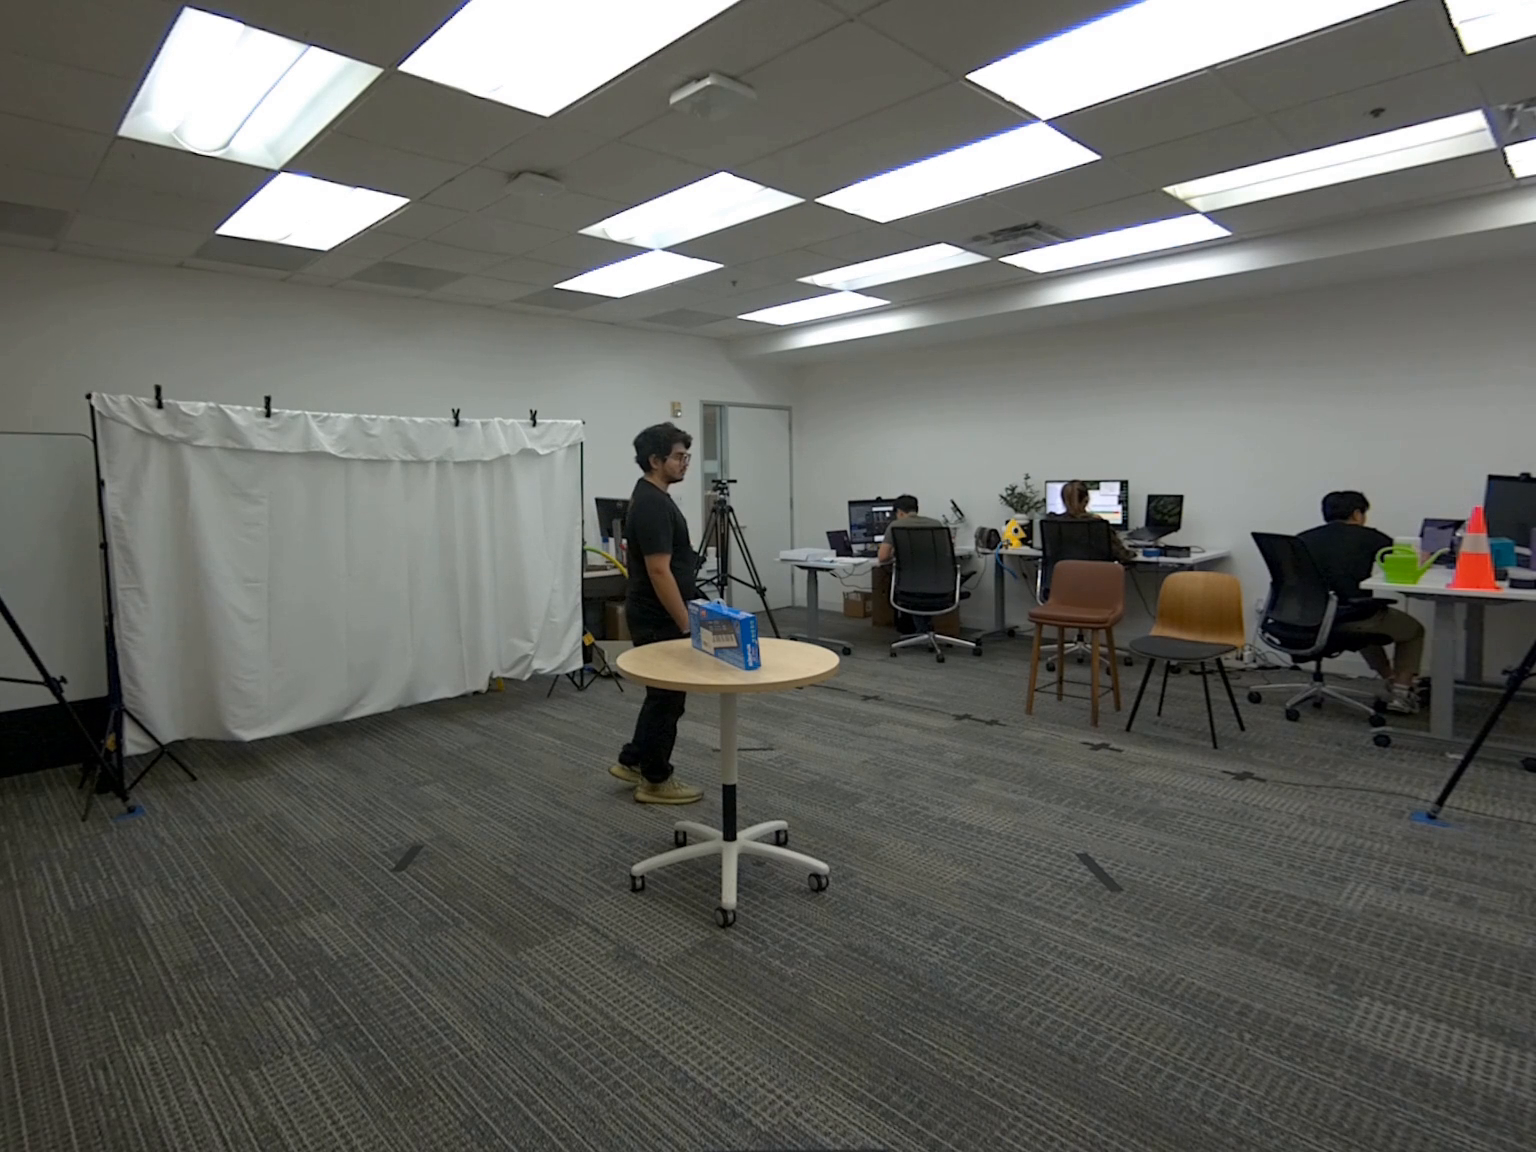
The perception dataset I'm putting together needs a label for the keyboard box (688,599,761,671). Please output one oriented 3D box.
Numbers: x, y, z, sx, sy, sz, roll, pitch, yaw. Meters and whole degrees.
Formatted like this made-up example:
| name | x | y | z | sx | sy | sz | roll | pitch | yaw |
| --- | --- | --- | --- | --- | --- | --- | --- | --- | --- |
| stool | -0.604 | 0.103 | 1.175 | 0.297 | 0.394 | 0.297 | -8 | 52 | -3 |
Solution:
| name | x | y | z | sx | sy | sz | roll | pitch | yaw |
| --- | --- | --- | --- | --- | --- | --- | --- | --- | --- |
| keyboard box | -0.158 | 0.198 | 2.945 | 0.058 | 0.175 | 0.448 | -8 | 9 | -26 |
